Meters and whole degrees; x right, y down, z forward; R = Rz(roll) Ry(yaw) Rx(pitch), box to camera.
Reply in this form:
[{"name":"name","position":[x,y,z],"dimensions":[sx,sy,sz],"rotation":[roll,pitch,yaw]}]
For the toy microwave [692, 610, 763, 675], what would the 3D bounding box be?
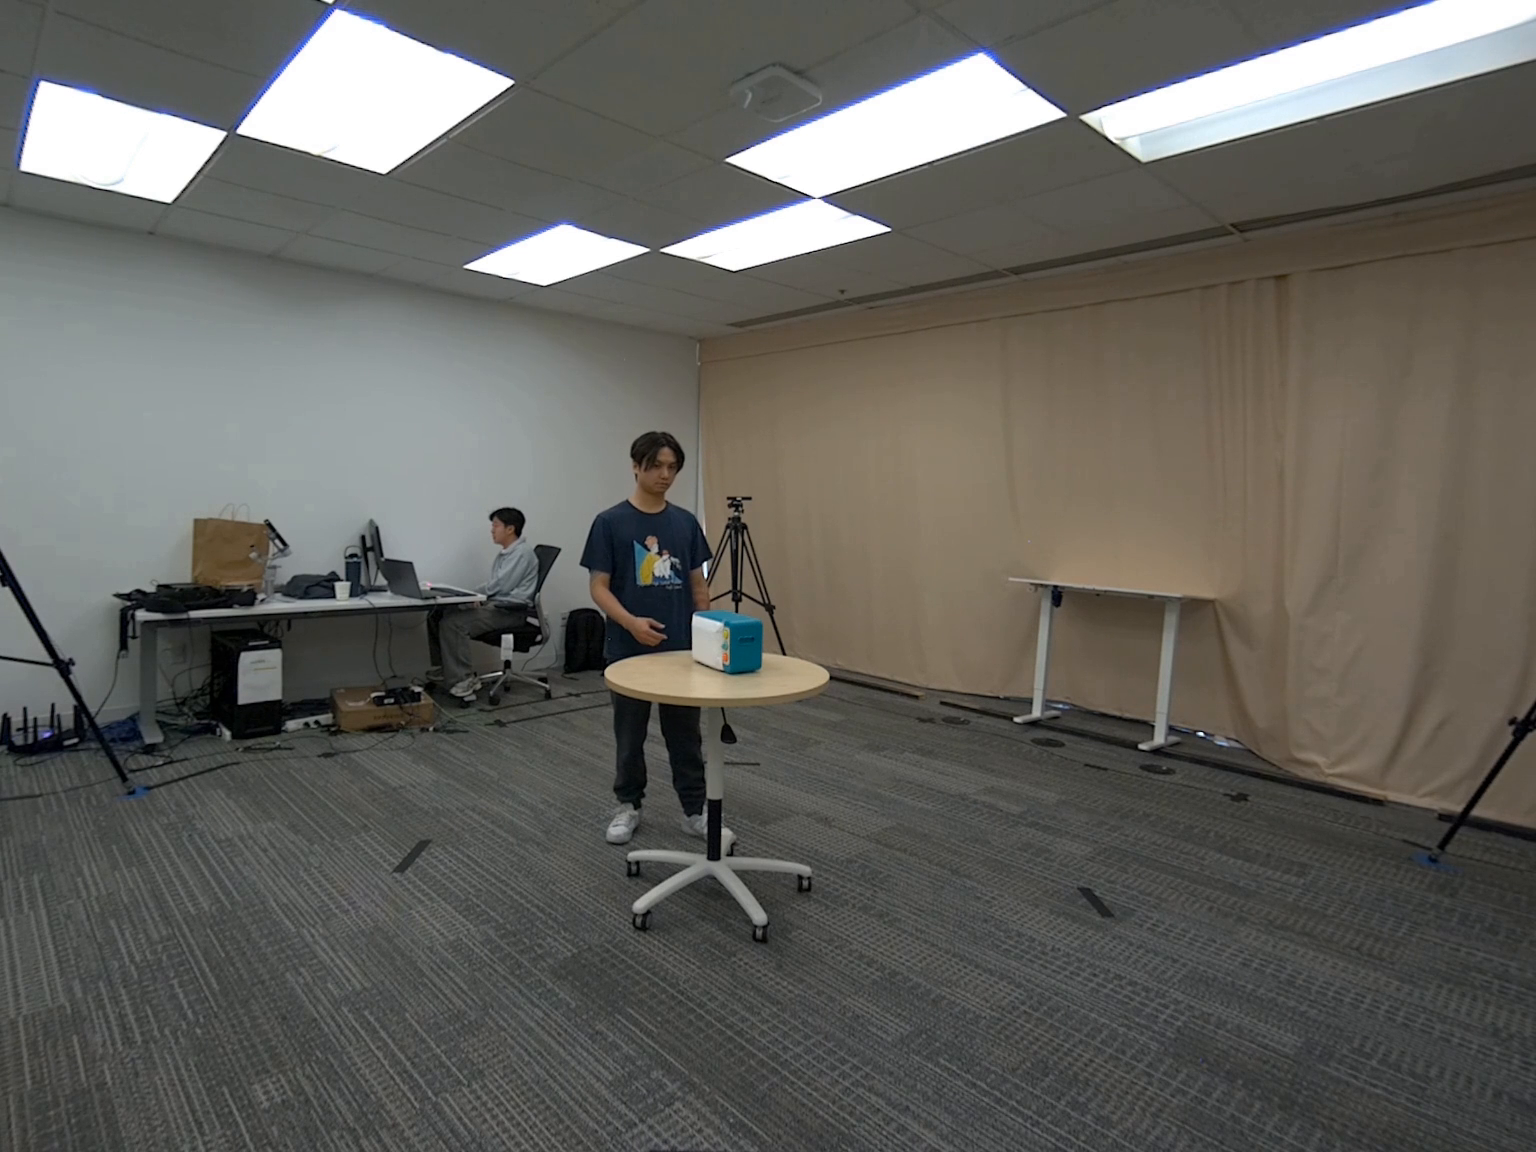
[{"name":"toy microwave","position":[-0.155,0.230,2.946],"dimensions":[0.149,0.183,0.293],"rotation":[-1,6,-32]}]
